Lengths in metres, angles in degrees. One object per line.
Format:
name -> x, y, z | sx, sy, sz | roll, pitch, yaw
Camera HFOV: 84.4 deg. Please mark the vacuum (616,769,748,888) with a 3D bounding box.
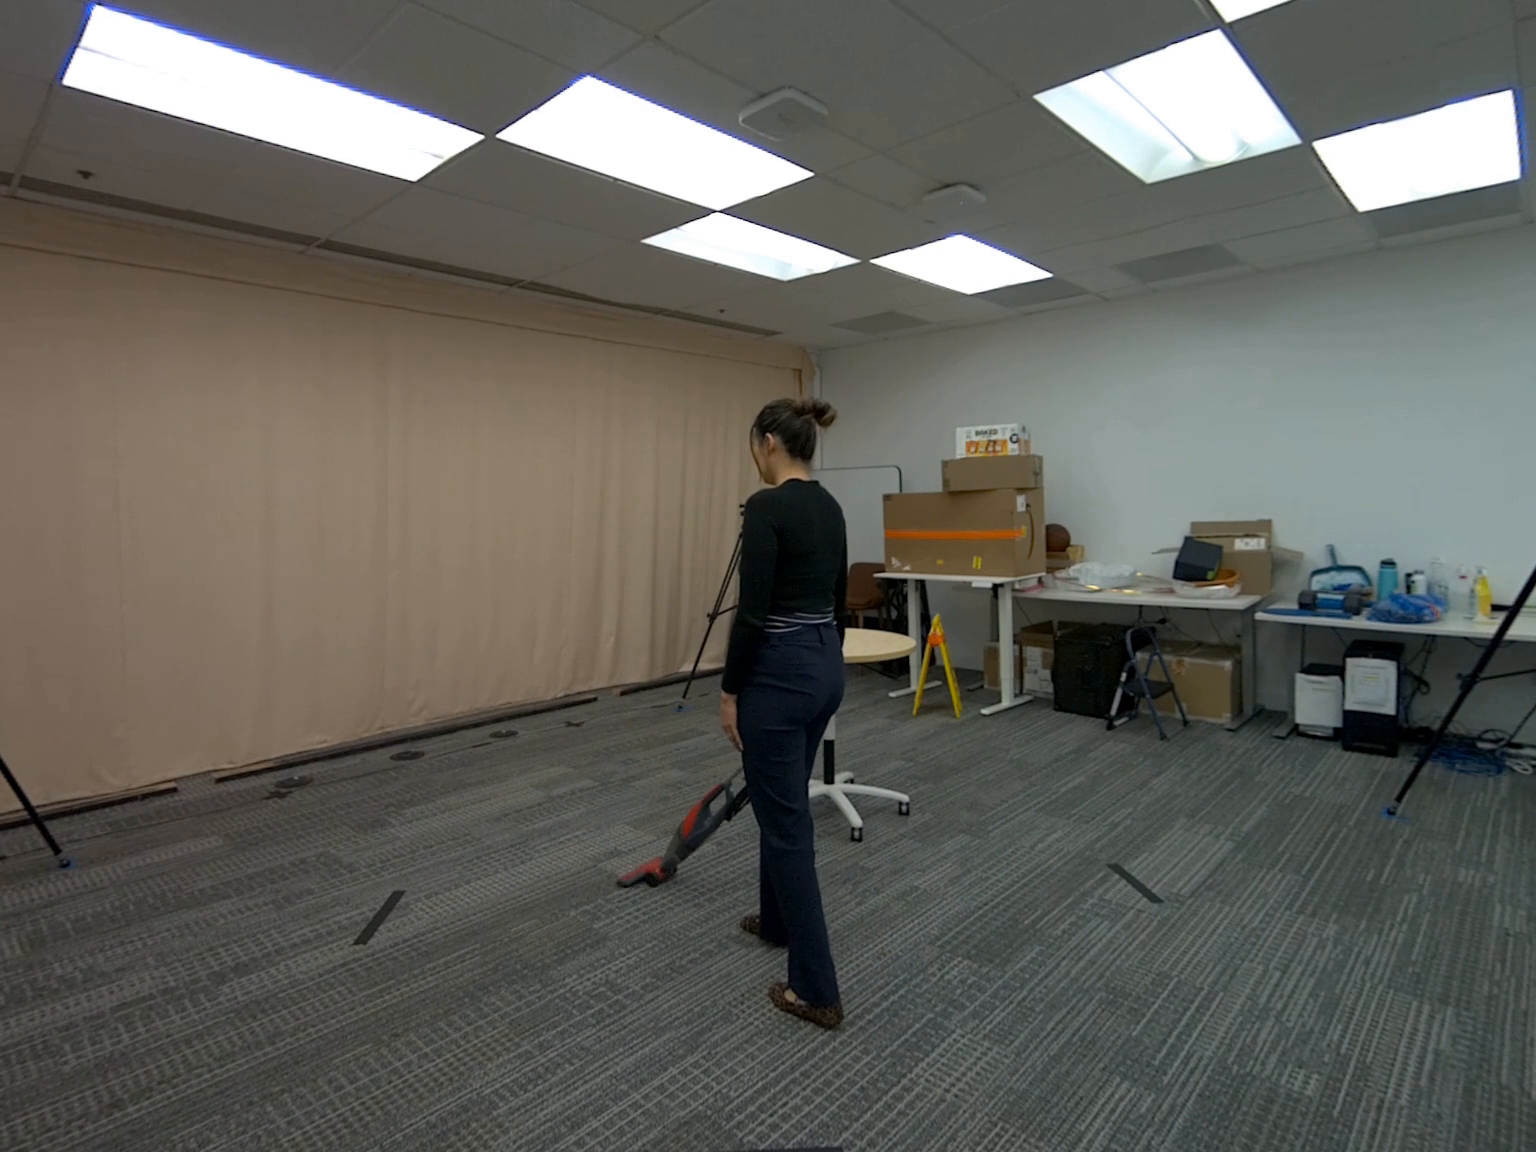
vacuum -> -0.144, 0.771, 2.949 | 1.054, 0.147, 0.246 | -49, -18, 26
